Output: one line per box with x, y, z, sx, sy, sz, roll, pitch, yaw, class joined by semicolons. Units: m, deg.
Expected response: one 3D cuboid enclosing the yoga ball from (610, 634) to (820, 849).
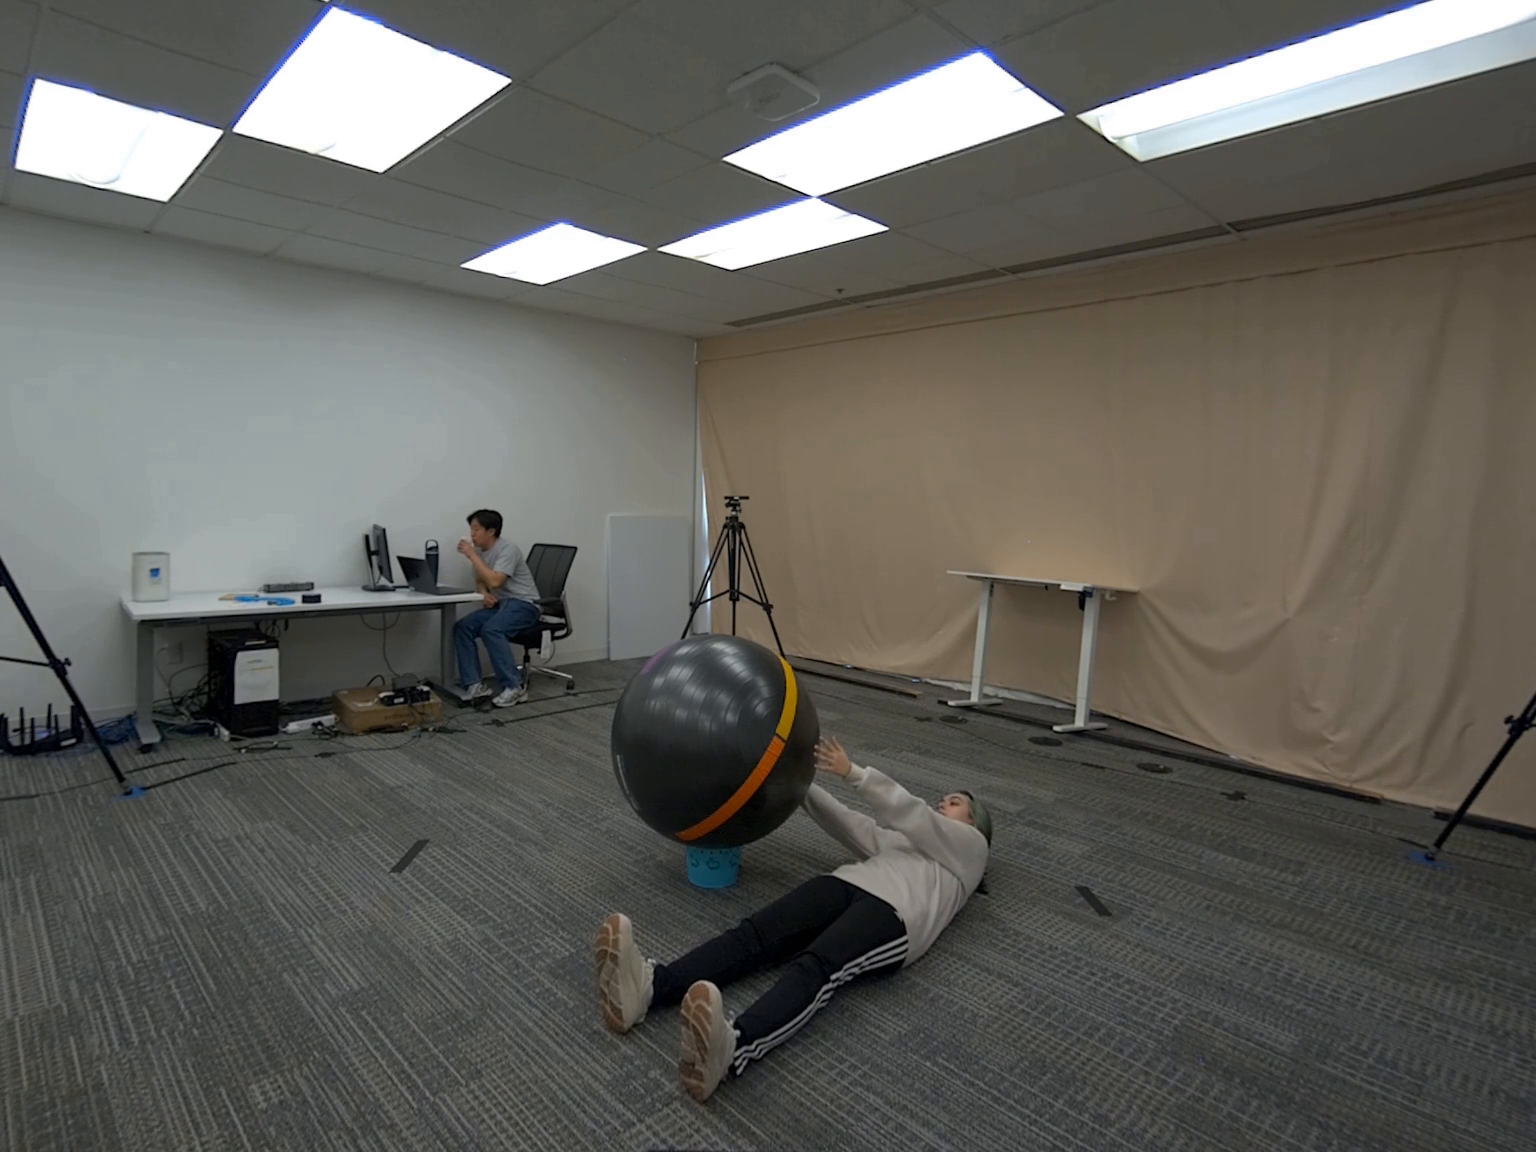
-0.192;0.594;3.062;0.757;0.756;0.761;1;4;-1;yoga ball
